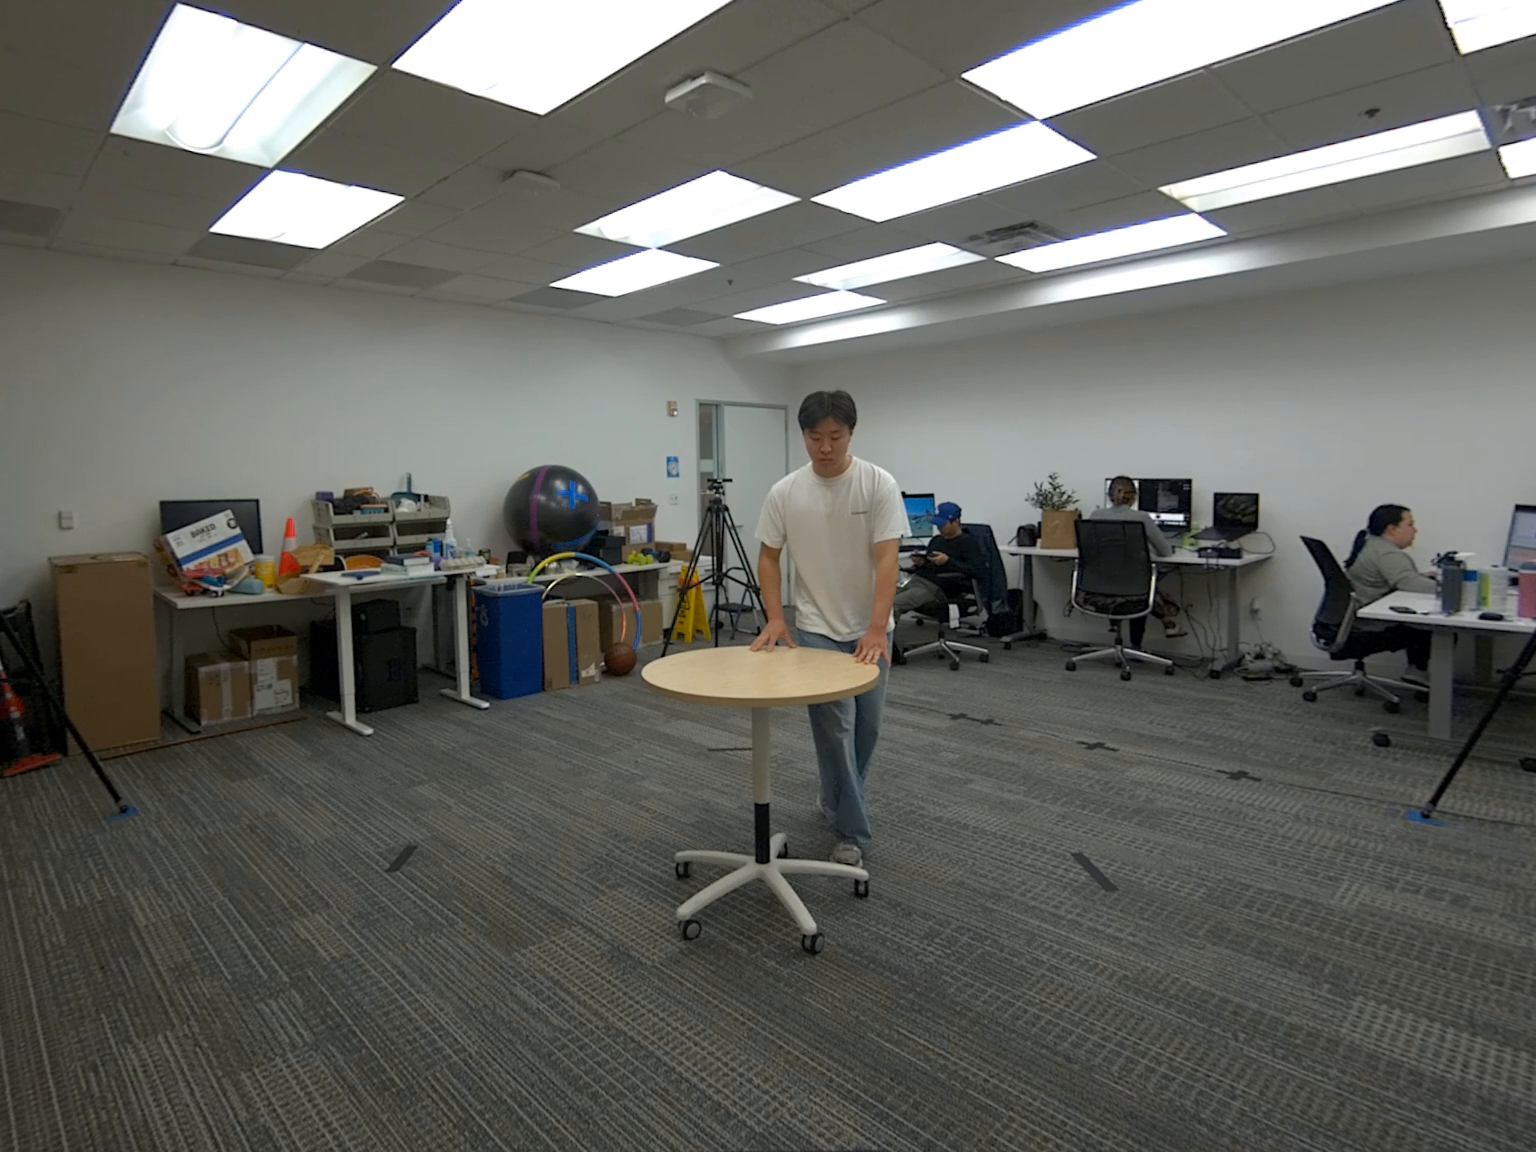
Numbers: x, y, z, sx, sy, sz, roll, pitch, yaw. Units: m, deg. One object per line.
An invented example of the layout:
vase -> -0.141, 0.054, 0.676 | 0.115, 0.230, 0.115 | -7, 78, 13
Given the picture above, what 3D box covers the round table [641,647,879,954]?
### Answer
round table -> -0.020, 0.690, 2.799 | 0.763, 0.791, 0.768 | -1, 5, -2
